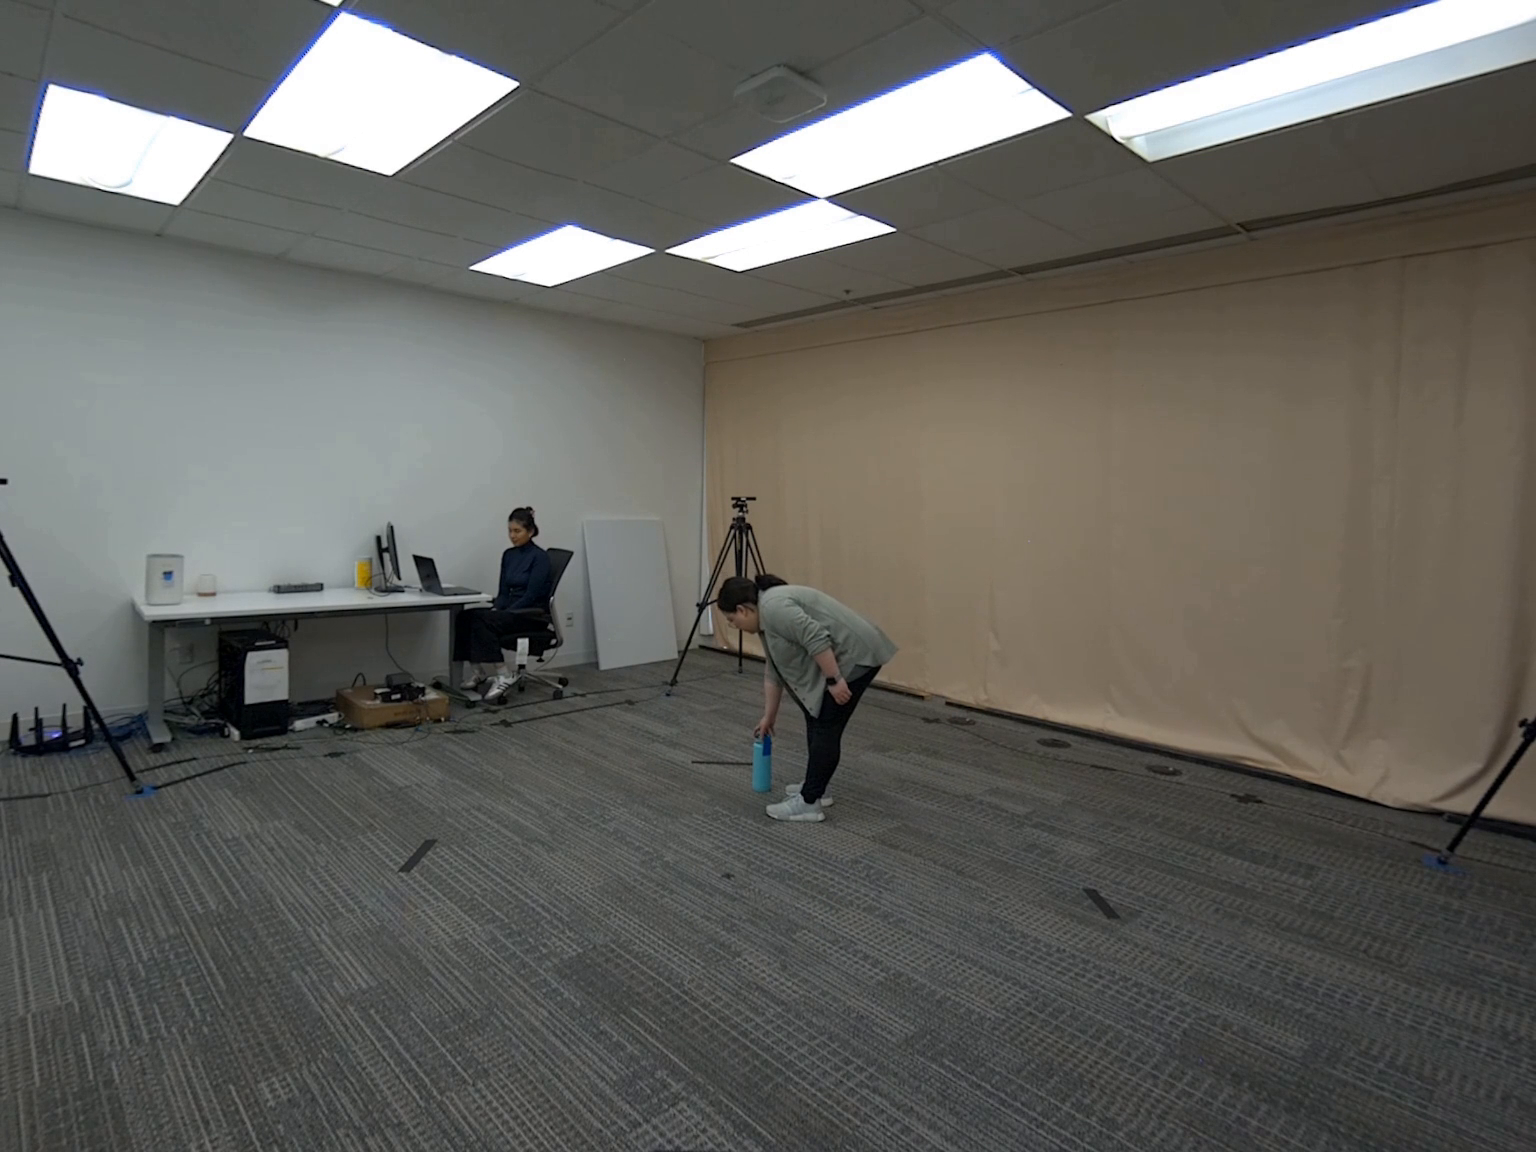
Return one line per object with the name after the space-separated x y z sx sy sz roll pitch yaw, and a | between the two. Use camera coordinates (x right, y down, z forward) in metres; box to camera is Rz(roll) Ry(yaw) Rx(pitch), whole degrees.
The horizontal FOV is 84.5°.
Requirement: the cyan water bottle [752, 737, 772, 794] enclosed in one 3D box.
-0.031 0.884 4.060 0.092 0.283 0.092 4 3 -2 | cyan water bottle
